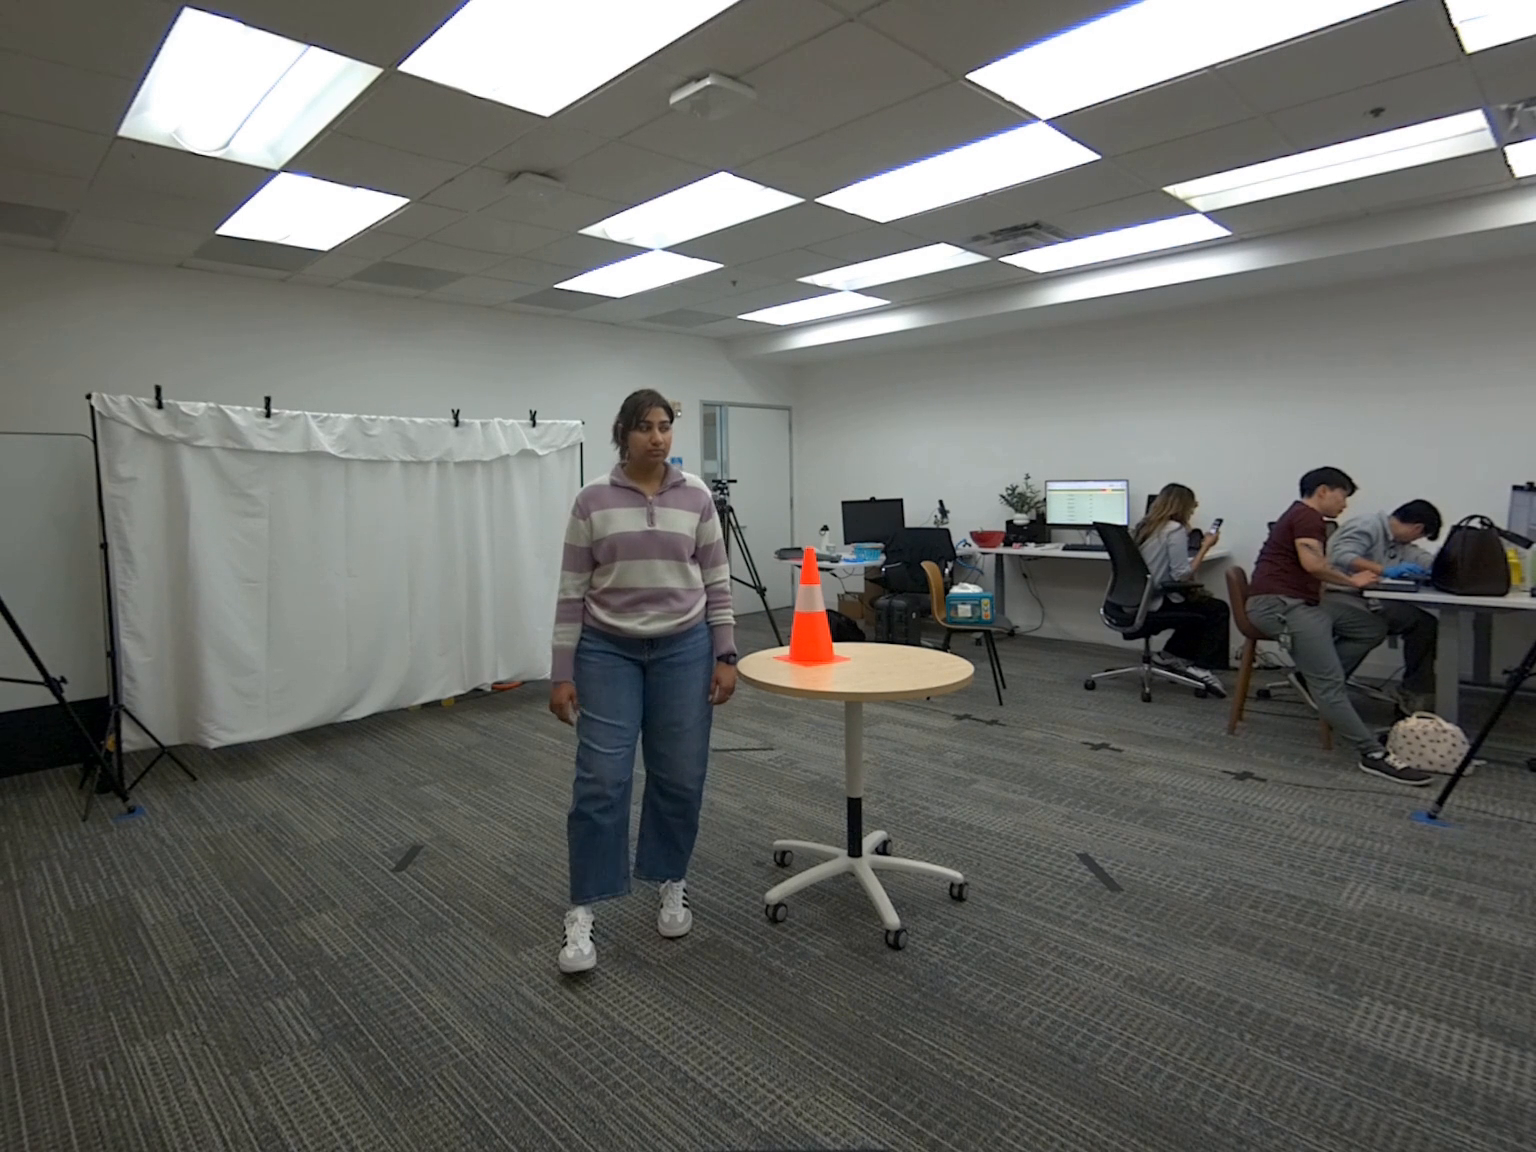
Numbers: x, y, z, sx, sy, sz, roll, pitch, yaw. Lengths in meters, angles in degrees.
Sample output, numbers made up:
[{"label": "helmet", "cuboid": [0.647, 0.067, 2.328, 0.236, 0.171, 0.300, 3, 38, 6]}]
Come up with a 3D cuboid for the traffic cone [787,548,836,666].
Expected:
[{"label": "traffic cone", "cuboid": [0.144, 0.097, 2.900, 0.209, 0.382, 0.199, 1, 4, 41]}]
